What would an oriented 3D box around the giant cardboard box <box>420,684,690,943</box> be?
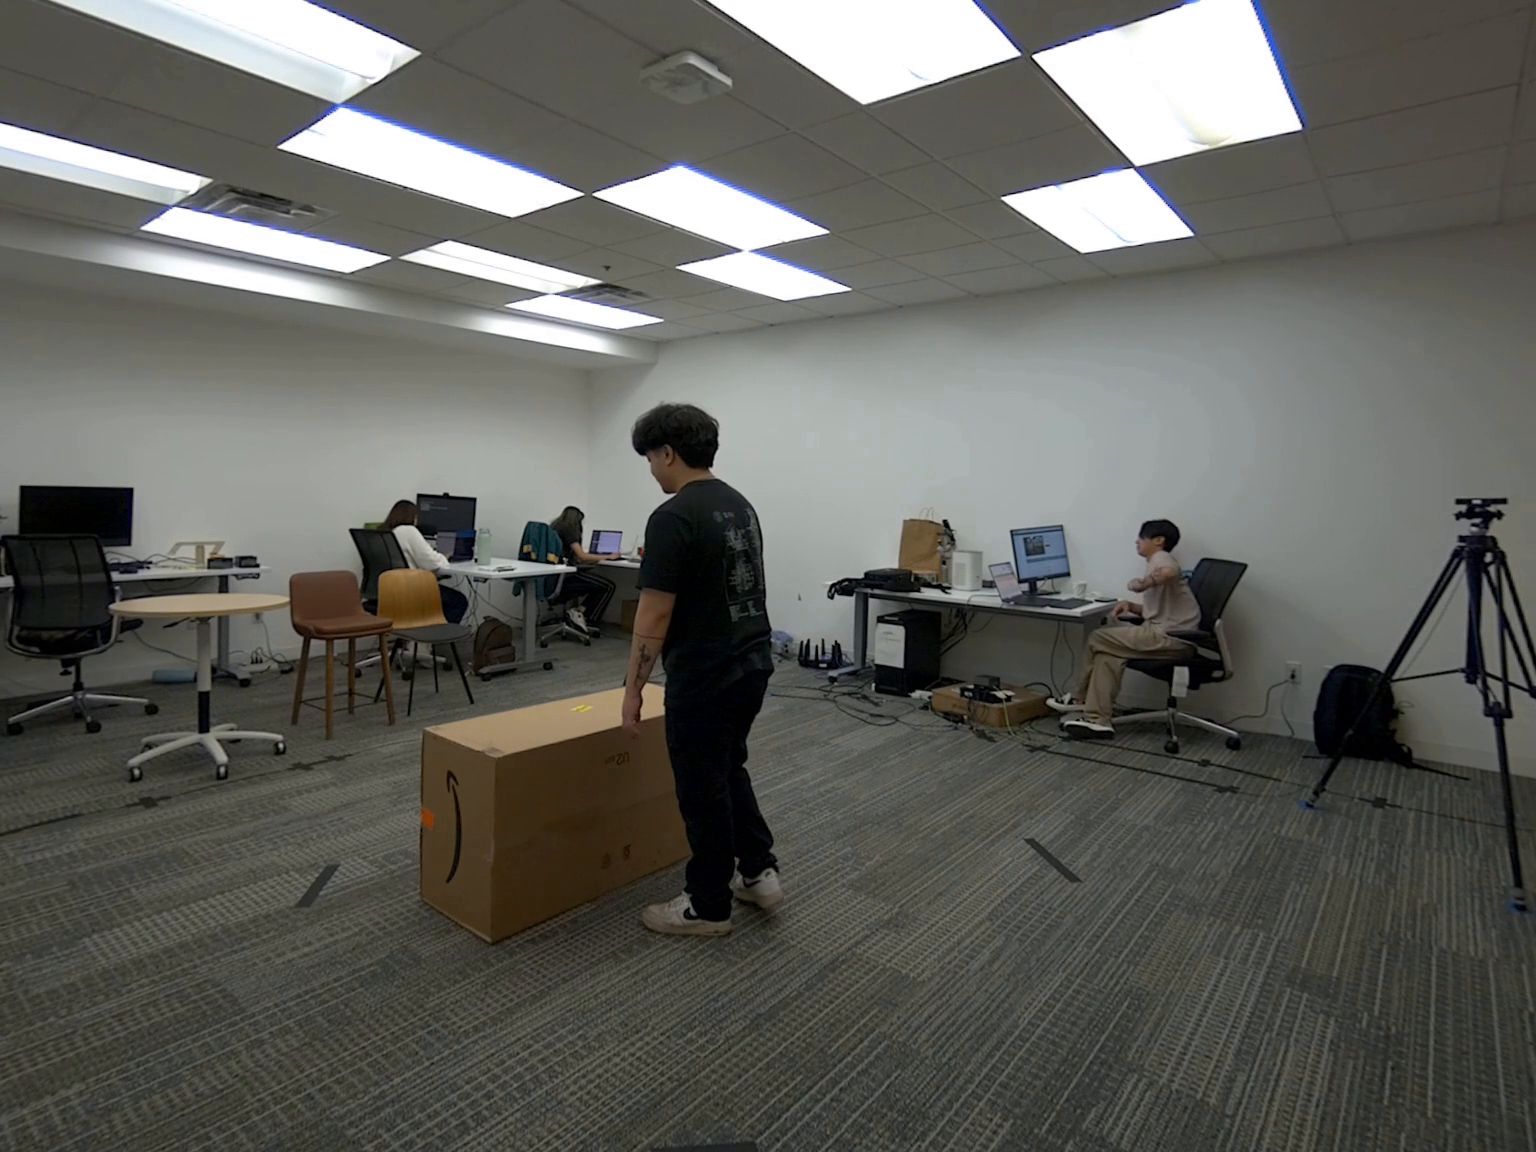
[{"bbox_3d":[-0.690,0.780,3.073,0.461,0.583,0.996,3,4,39],"label":"giant cardboard box"}]
